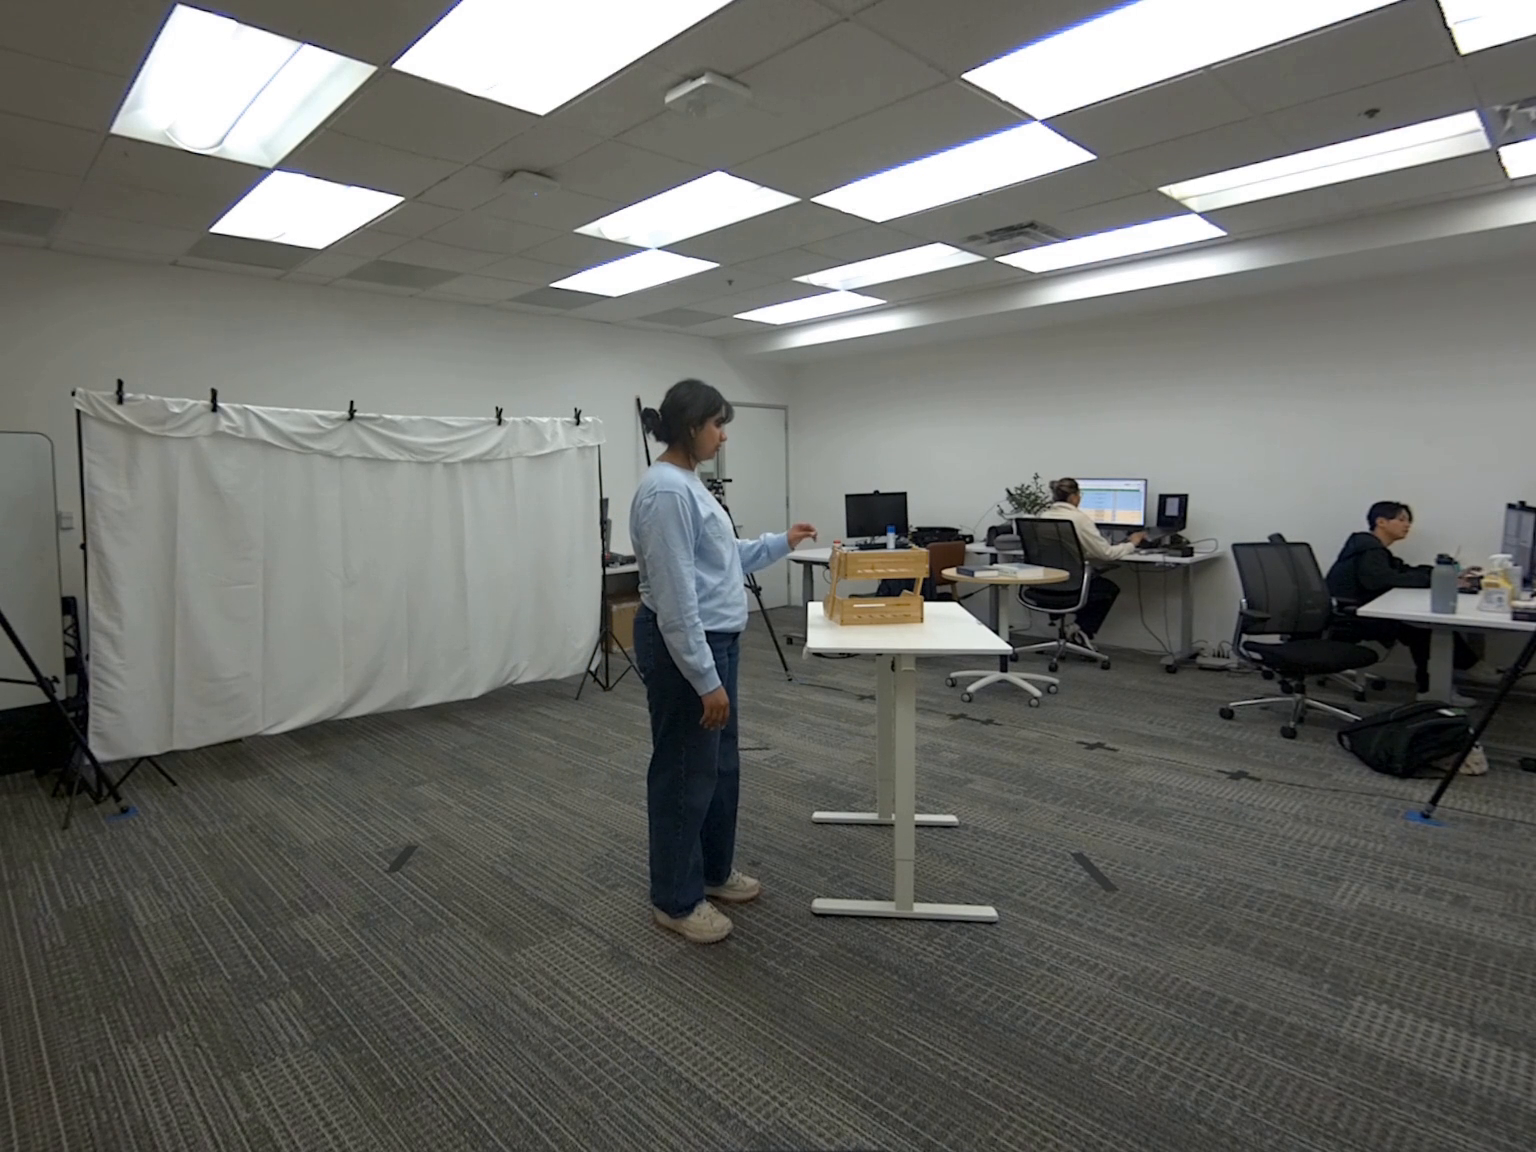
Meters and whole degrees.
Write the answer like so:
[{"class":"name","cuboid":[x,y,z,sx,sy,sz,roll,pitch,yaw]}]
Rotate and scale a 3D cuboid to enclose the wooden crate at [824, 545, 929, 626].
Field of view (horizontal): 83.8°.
[{"class":"wooden crate","cuboid":[0.388,0.026,3.074,0.322,0.272,0.306,-1,6,-9]}]
